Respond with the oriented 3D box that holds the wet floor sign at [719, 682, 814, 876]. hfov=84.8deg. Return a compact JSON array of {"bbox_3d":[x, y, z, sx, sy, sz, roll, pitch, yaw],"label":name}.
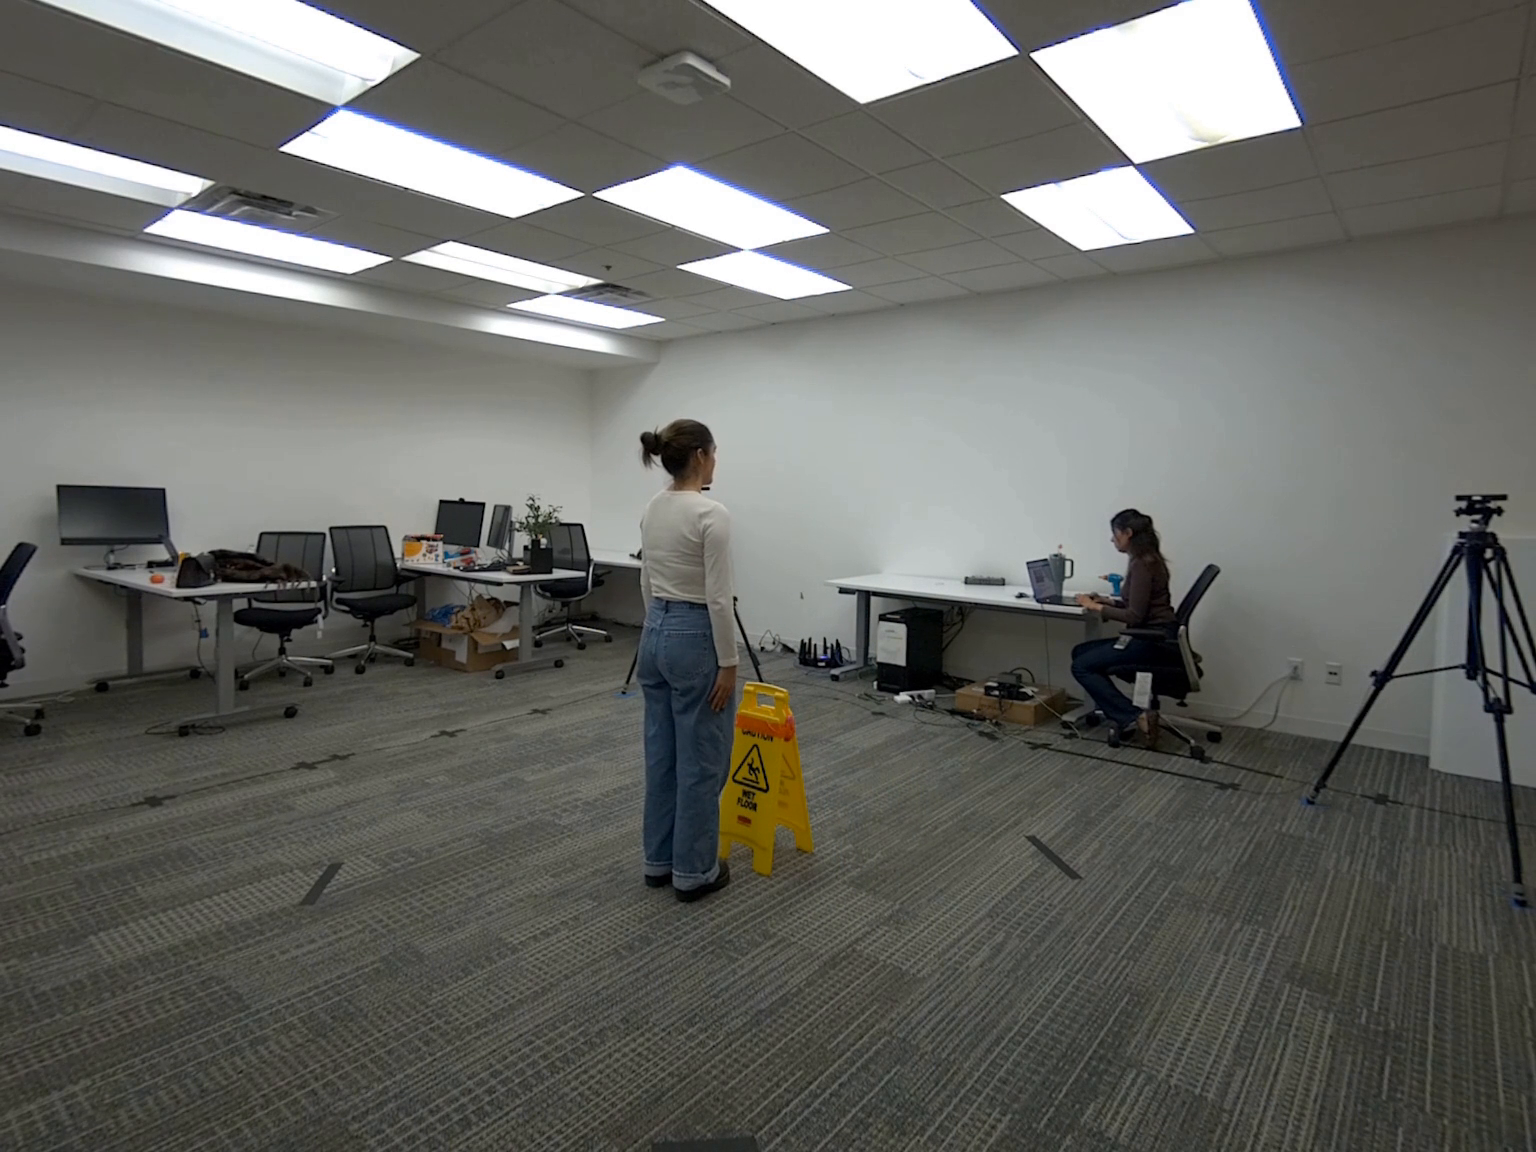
[{"bbox_3d":[-0.022,0.731,3.236,0.292,0.644,0.281,4,3,39],"label":"wet floor sign"}]
